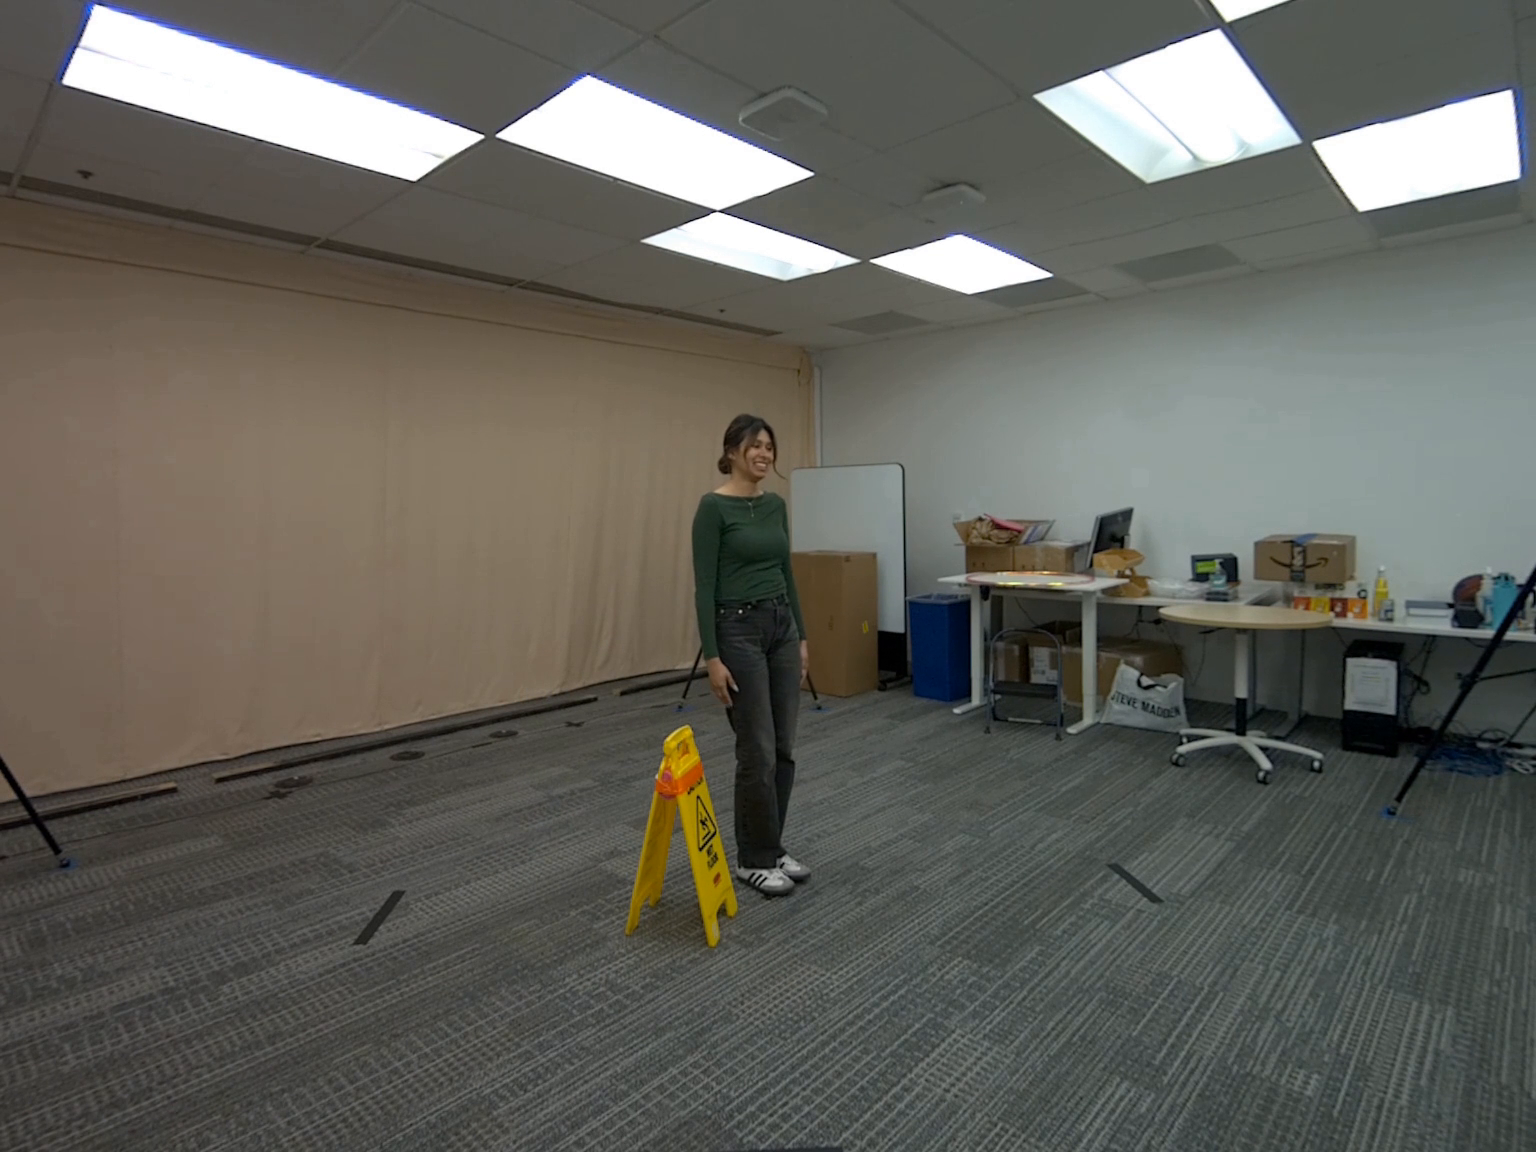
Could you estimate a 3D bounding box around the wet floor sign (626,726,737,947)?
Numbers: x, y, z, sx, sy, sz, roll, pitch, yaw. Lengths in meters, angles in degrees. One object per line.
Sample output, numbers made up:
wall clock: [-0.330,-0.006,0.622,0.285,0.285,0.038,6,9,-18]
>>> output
wet floor sign: [-0.288,0.839,2.801,0.295,0.644,0.278,0,4,17]
